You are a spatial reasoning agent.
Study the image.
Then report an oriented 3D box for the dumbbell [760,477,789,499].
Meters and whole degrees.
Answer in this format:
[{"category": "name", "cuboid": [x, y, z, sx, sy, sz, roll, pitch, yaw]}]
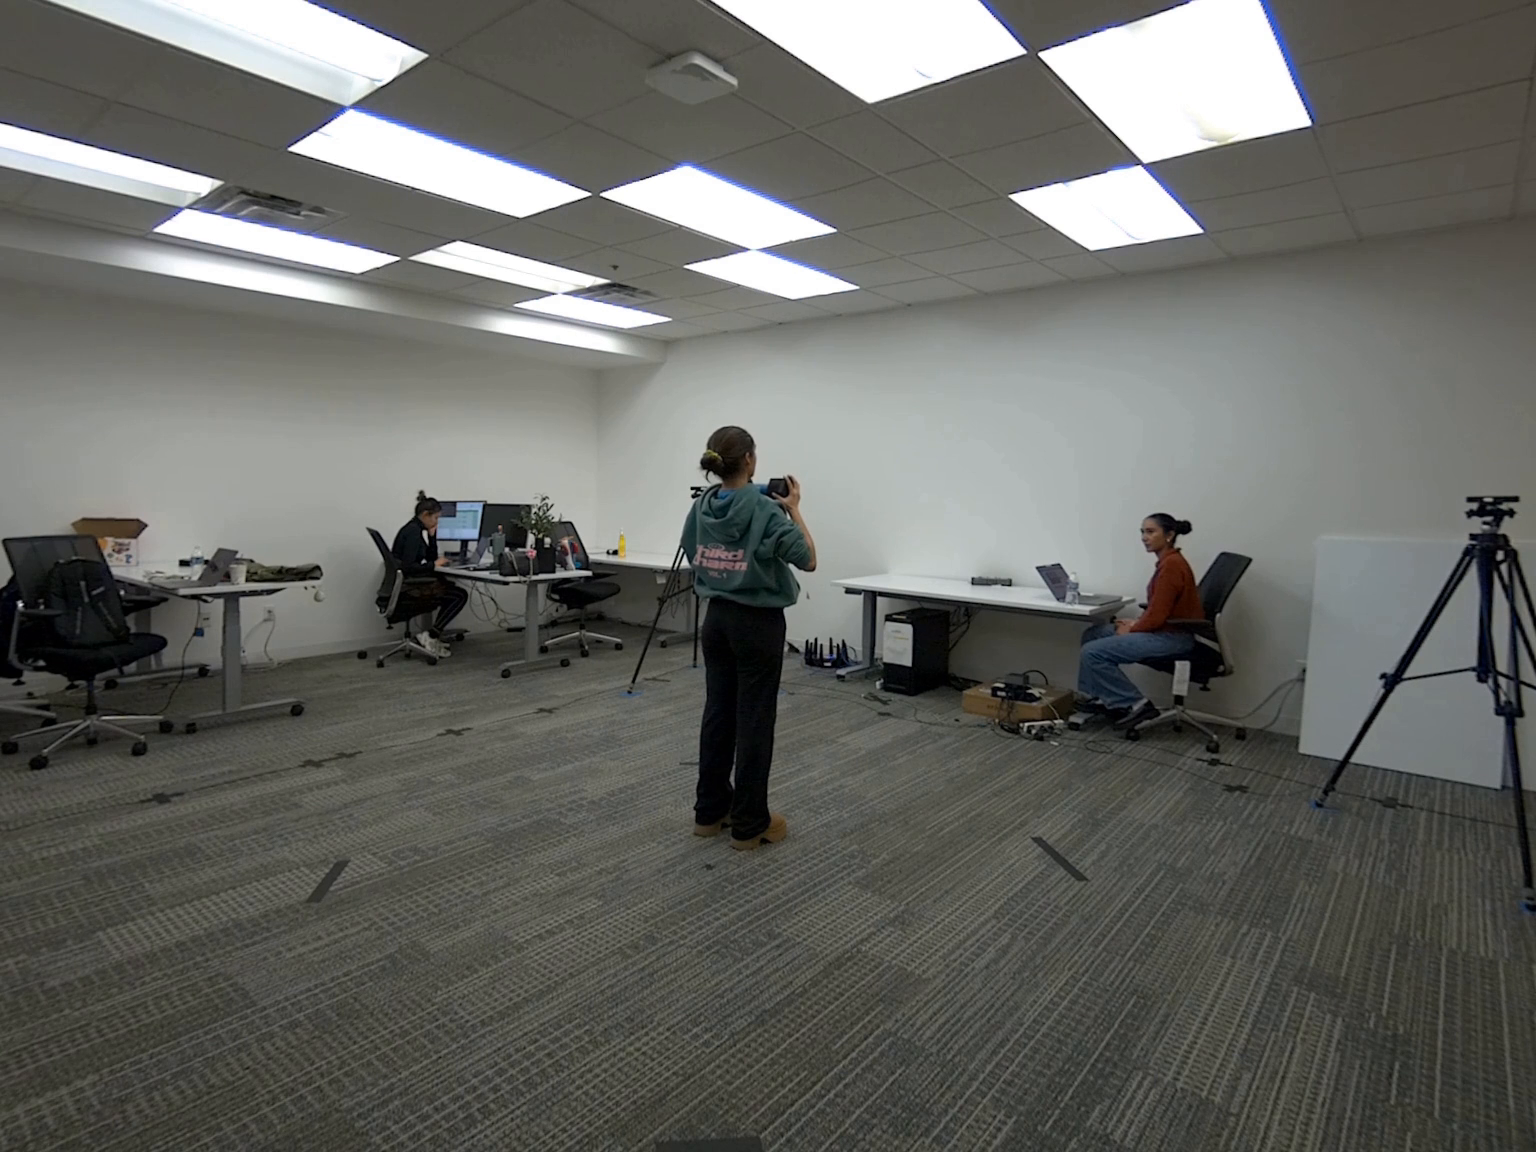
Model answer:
[{"category": "dumbbell", "cuboid": [-0.046, -0.345, 3.427, 0.303, 0.124, 0.104, 6, -20, 39]}]
